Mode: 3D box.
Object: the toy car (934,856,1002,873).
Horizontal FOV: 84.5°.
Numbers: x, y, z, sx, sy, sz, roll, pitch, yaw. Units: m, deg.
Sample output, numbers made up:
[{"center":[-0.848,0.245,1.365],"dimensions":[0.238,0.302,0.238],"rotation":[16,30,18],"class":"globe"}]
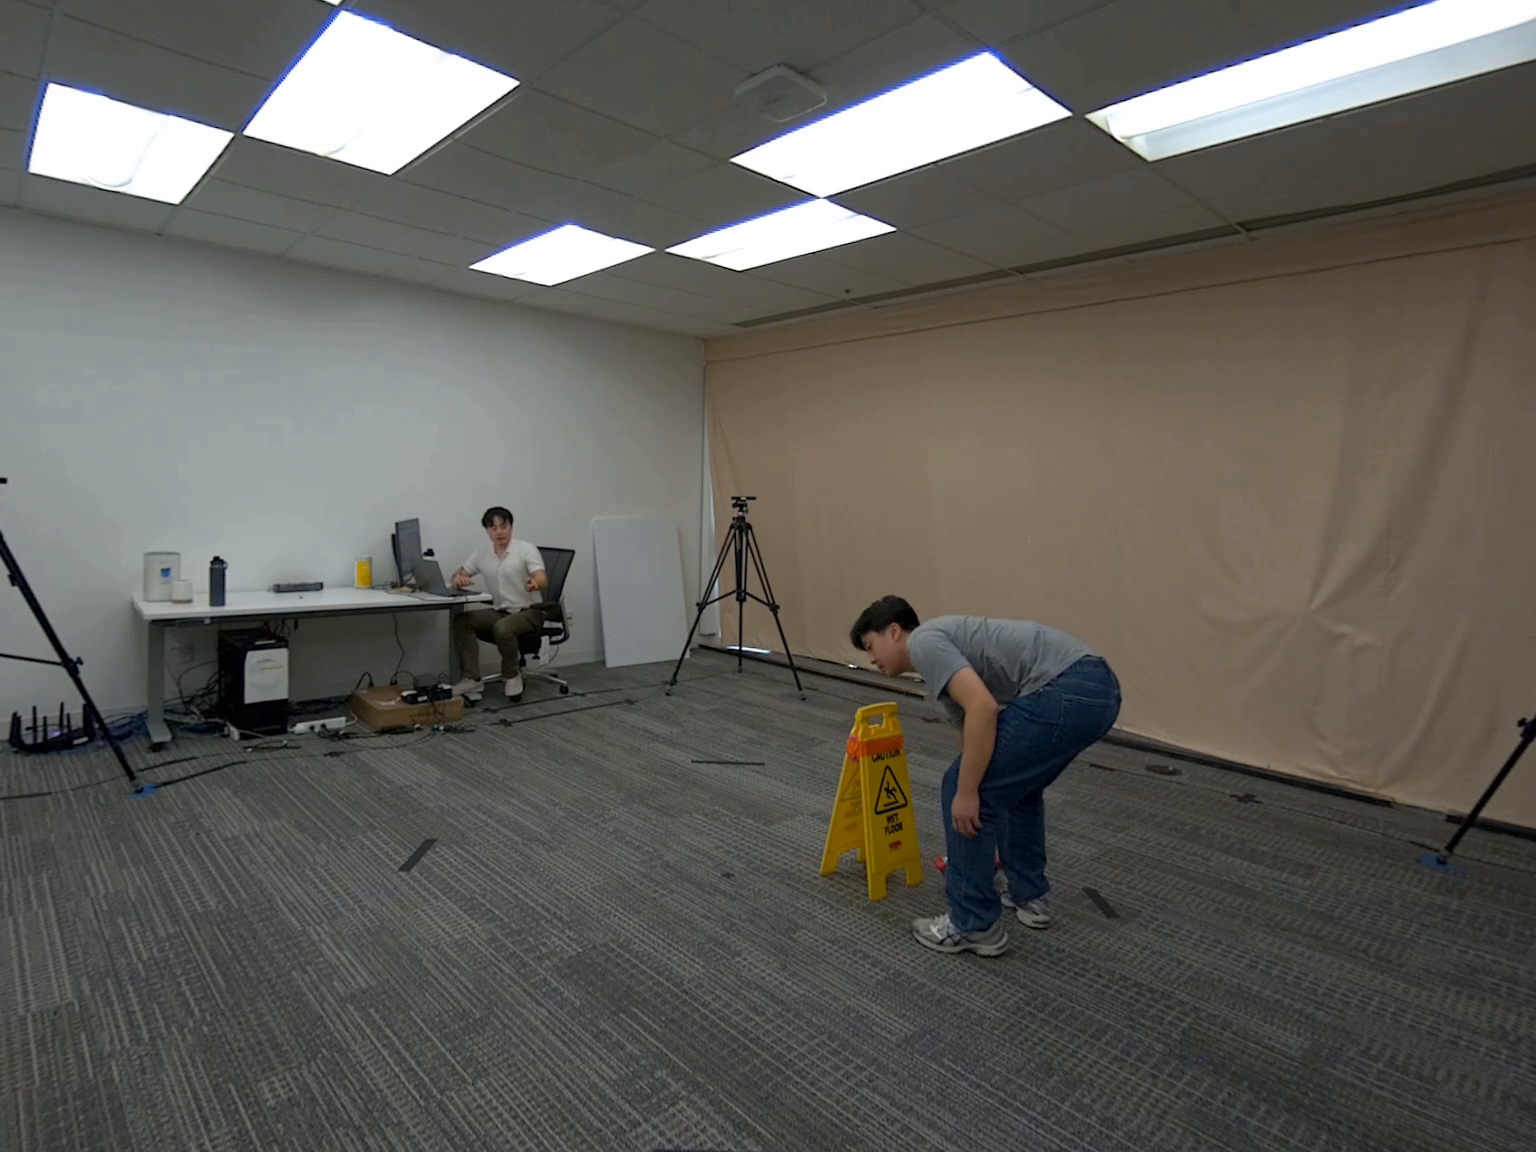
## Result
[{"center":[0.704,1.035,2.999],"dimensions":[0.255,0.084,0.129],"rotation":[-12,-7,1],"class":"toy car"}]
